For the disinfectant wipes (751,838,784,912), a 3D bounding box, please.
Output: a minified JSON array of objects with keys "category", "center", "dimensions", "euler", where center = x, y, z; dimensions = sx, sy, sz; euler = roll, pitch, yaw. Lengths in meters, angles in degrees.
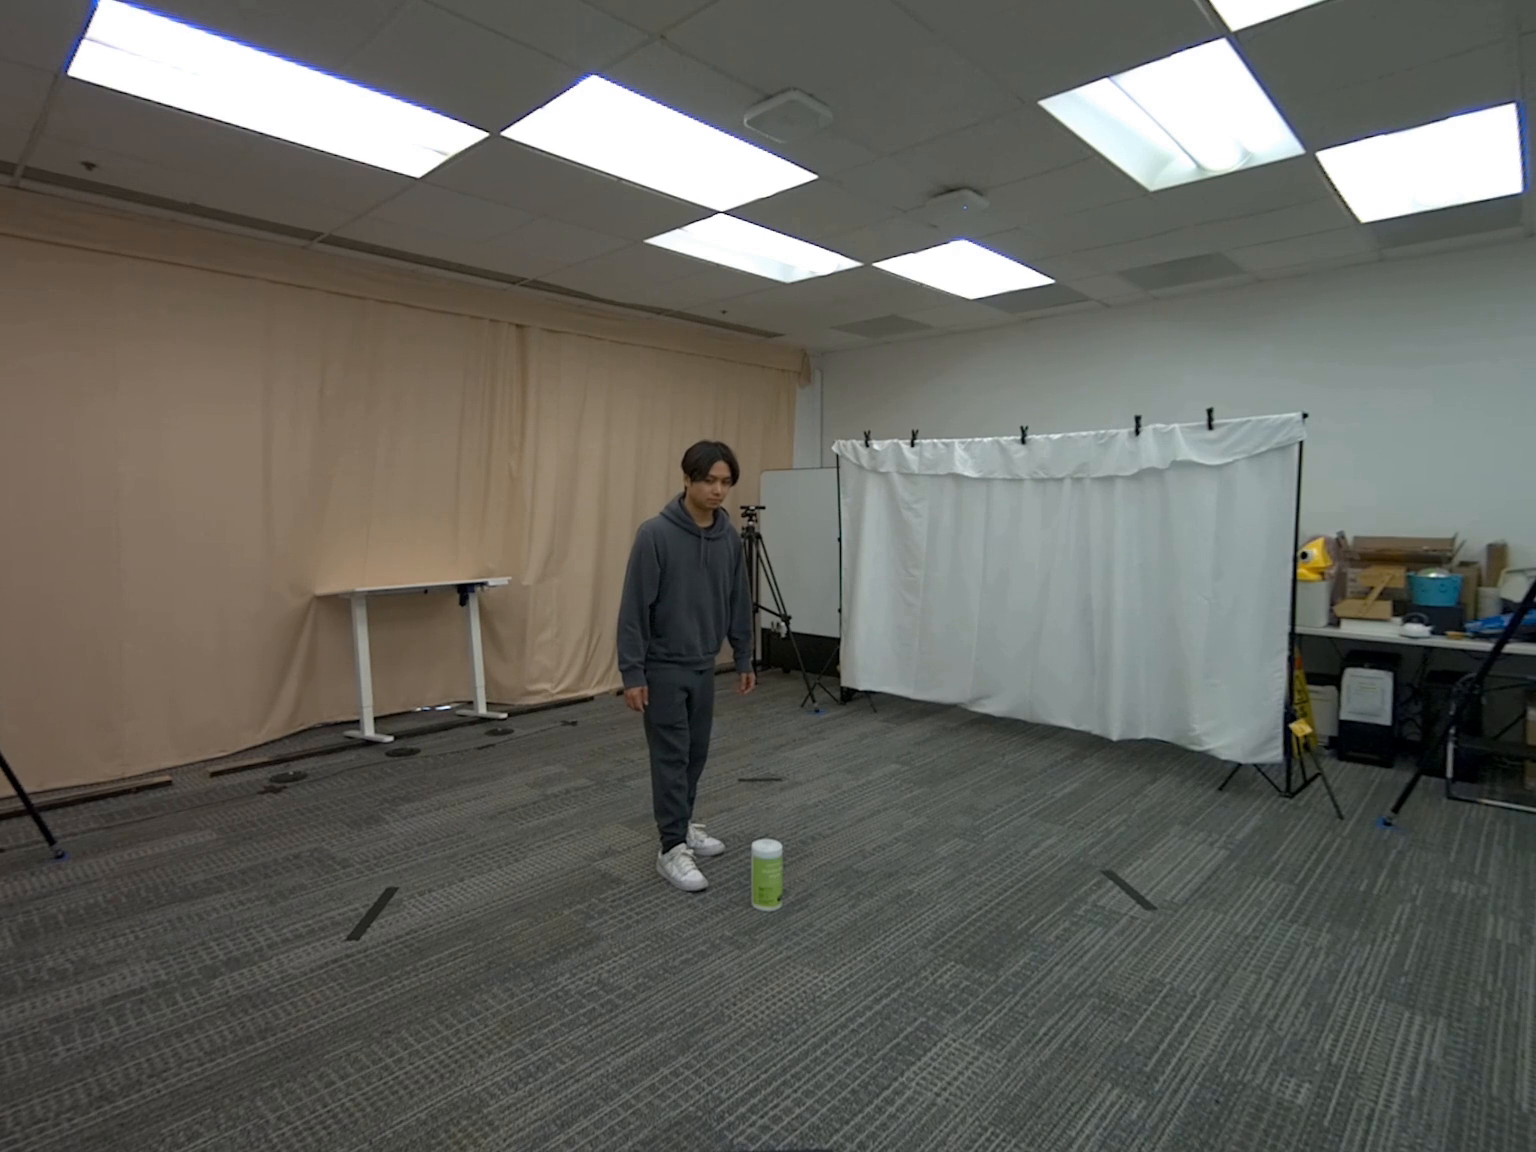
[{"category":"disinfectant wipes","center":[-0.004,1.041,2.934],"dimensions":[0.118,0.217,0.118],"euler":[0,4,-2]}]
